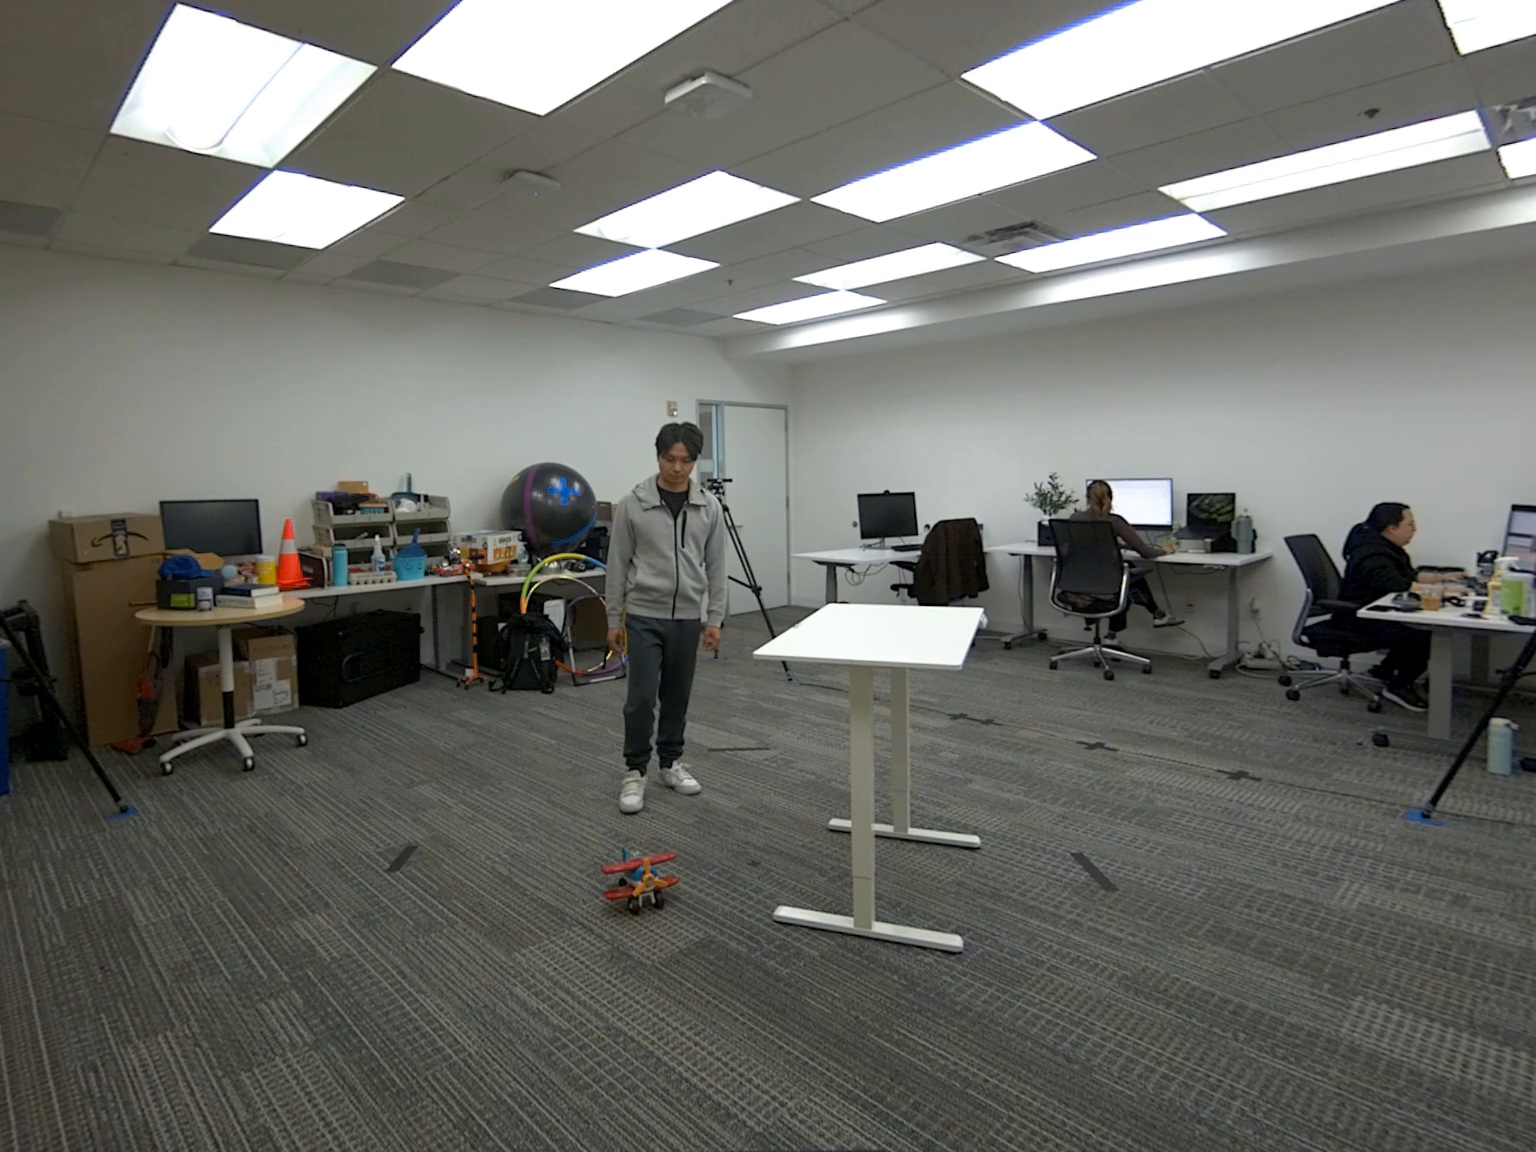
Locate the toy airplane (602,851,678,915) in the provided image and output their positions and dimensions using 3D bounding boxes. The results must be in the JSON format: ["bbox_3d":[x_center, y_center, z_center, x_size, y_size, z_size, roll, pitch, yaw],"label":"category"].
[{"bbox_3d":[-0.452,1.011,2.845,0.267,0.155,0.245,6,10,35],"label":"toy airplane"}]
